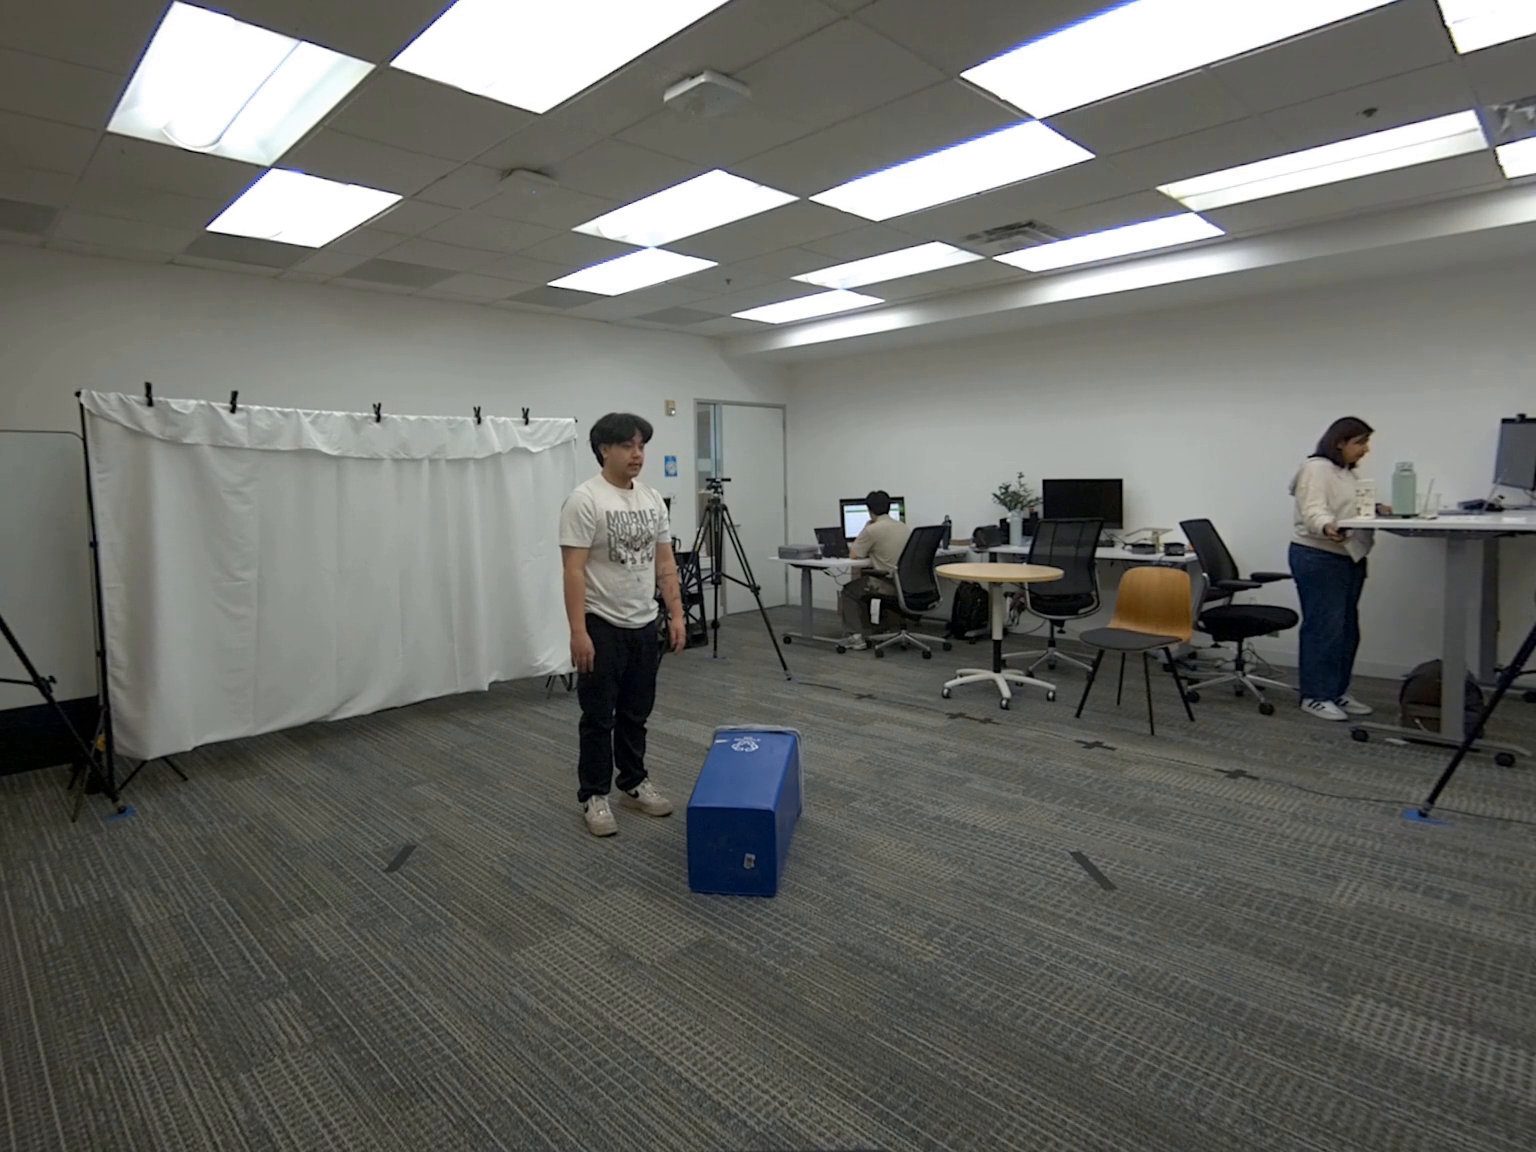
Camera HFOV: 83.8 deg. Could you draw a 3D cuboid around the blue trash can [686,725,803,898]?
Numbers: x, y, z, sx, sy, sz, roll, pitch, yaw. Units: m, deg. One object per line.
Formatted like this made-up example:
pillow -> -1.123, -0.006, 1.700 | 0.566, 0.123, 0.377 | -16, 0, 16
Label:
blue trash can -> -0.076, 0.865, 3.197 | 0.377, 0.375, 0.713 | 0, 9, 6
